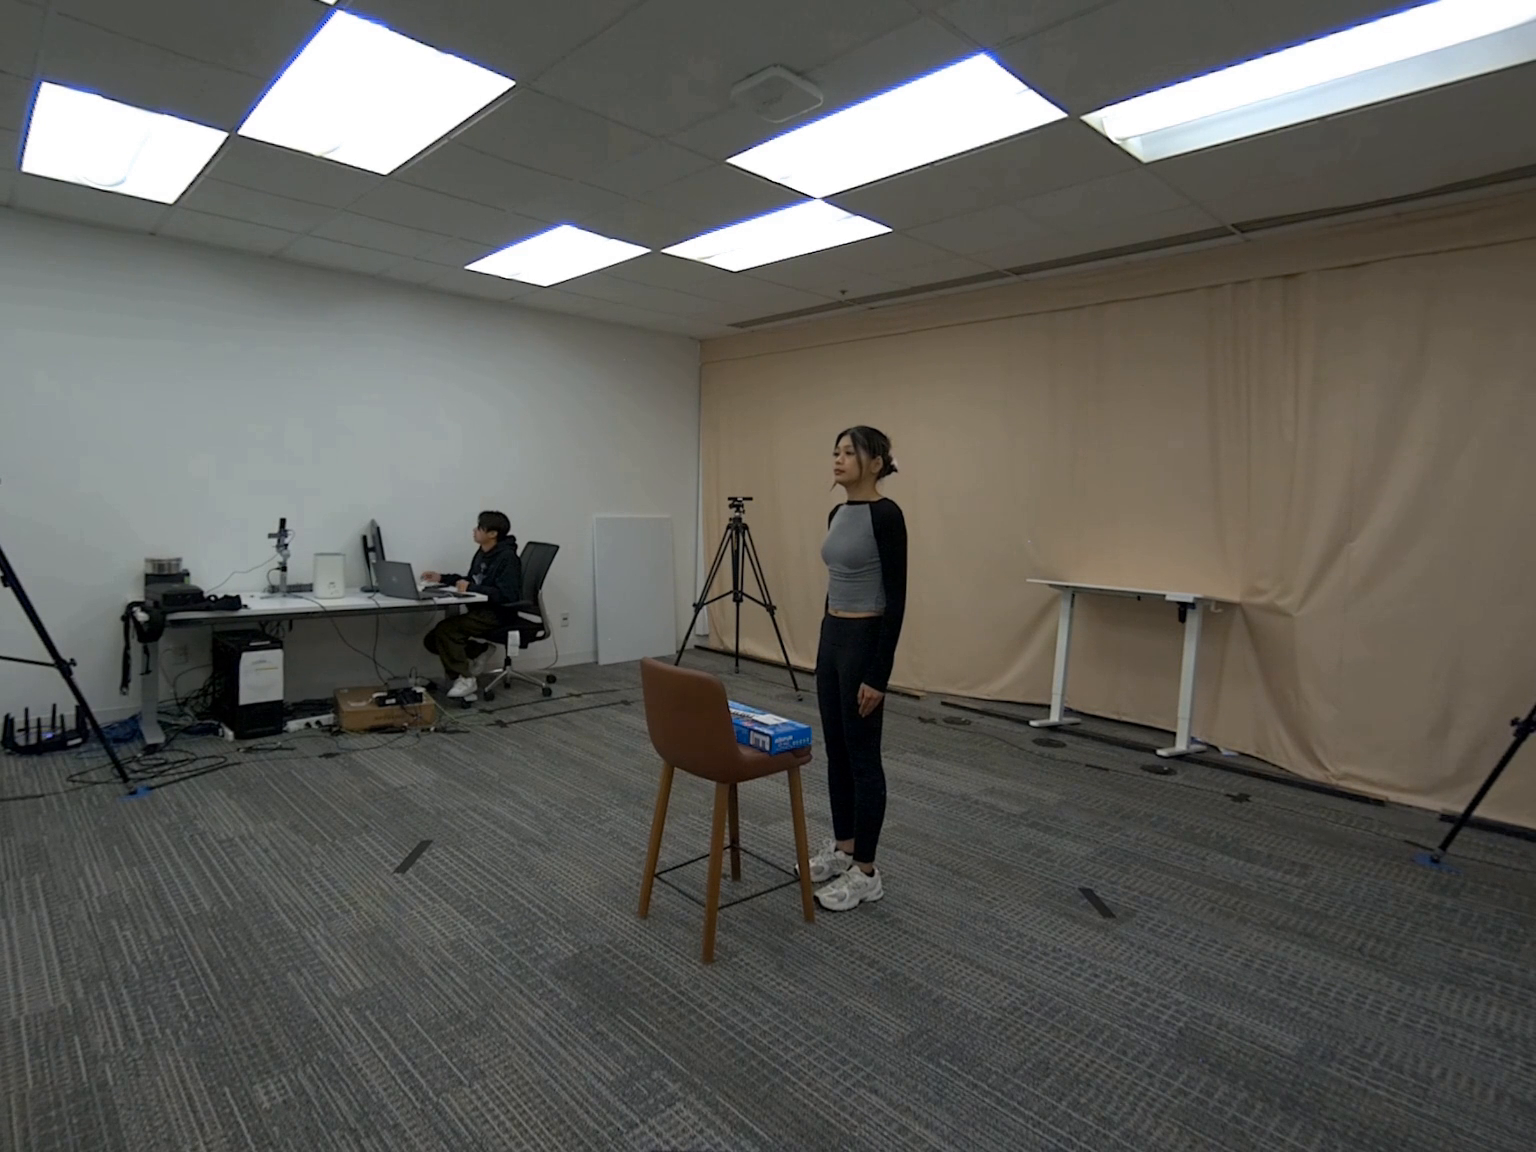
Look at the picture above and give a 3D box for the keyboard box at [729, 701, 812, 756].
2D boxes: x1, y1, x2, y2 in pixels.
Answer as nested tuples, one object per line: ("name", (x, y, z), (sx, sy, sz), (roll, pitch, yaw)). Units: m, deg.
("keyboard box", (-0.073, 0.493, 2.788), (0.172, 0.059, 0.448), (-3, 7, -40))
